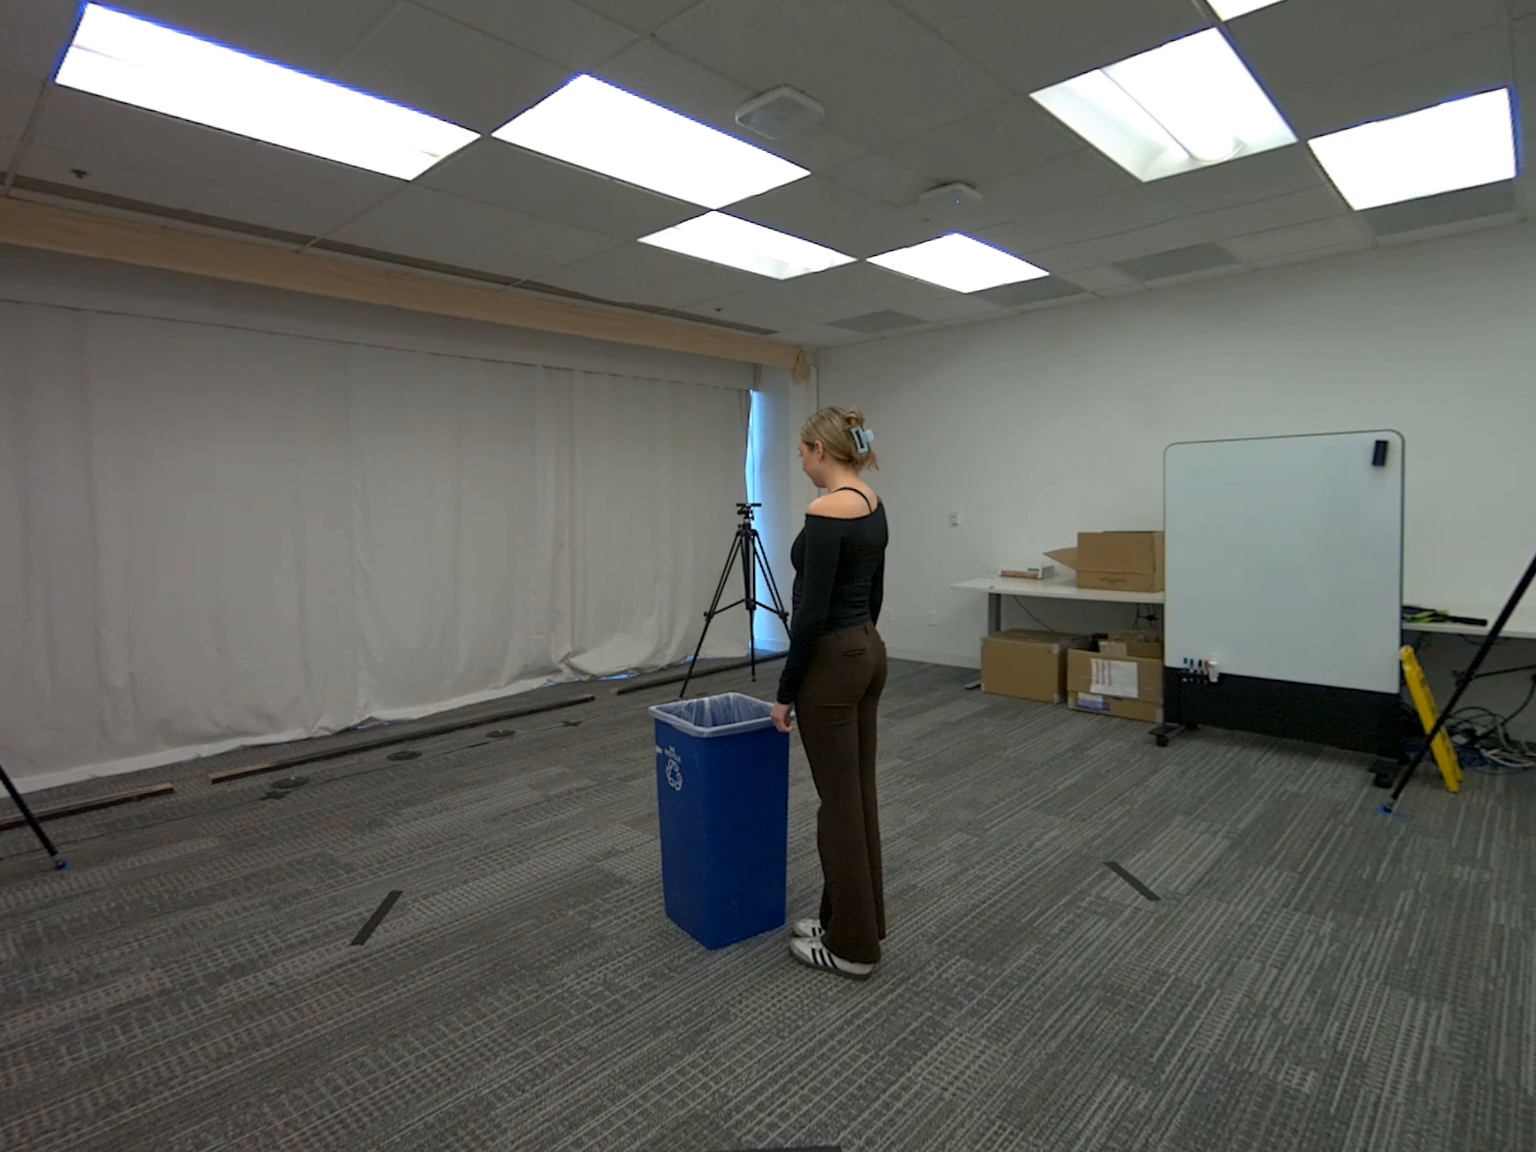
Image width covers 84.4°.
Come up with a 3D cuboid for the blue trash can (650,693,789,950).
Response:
[{"bbox_3d":[-0.144,0.797,2.804,0.367,0.712,0.386,-4,4,-35],"label":"blue trash can"}]
